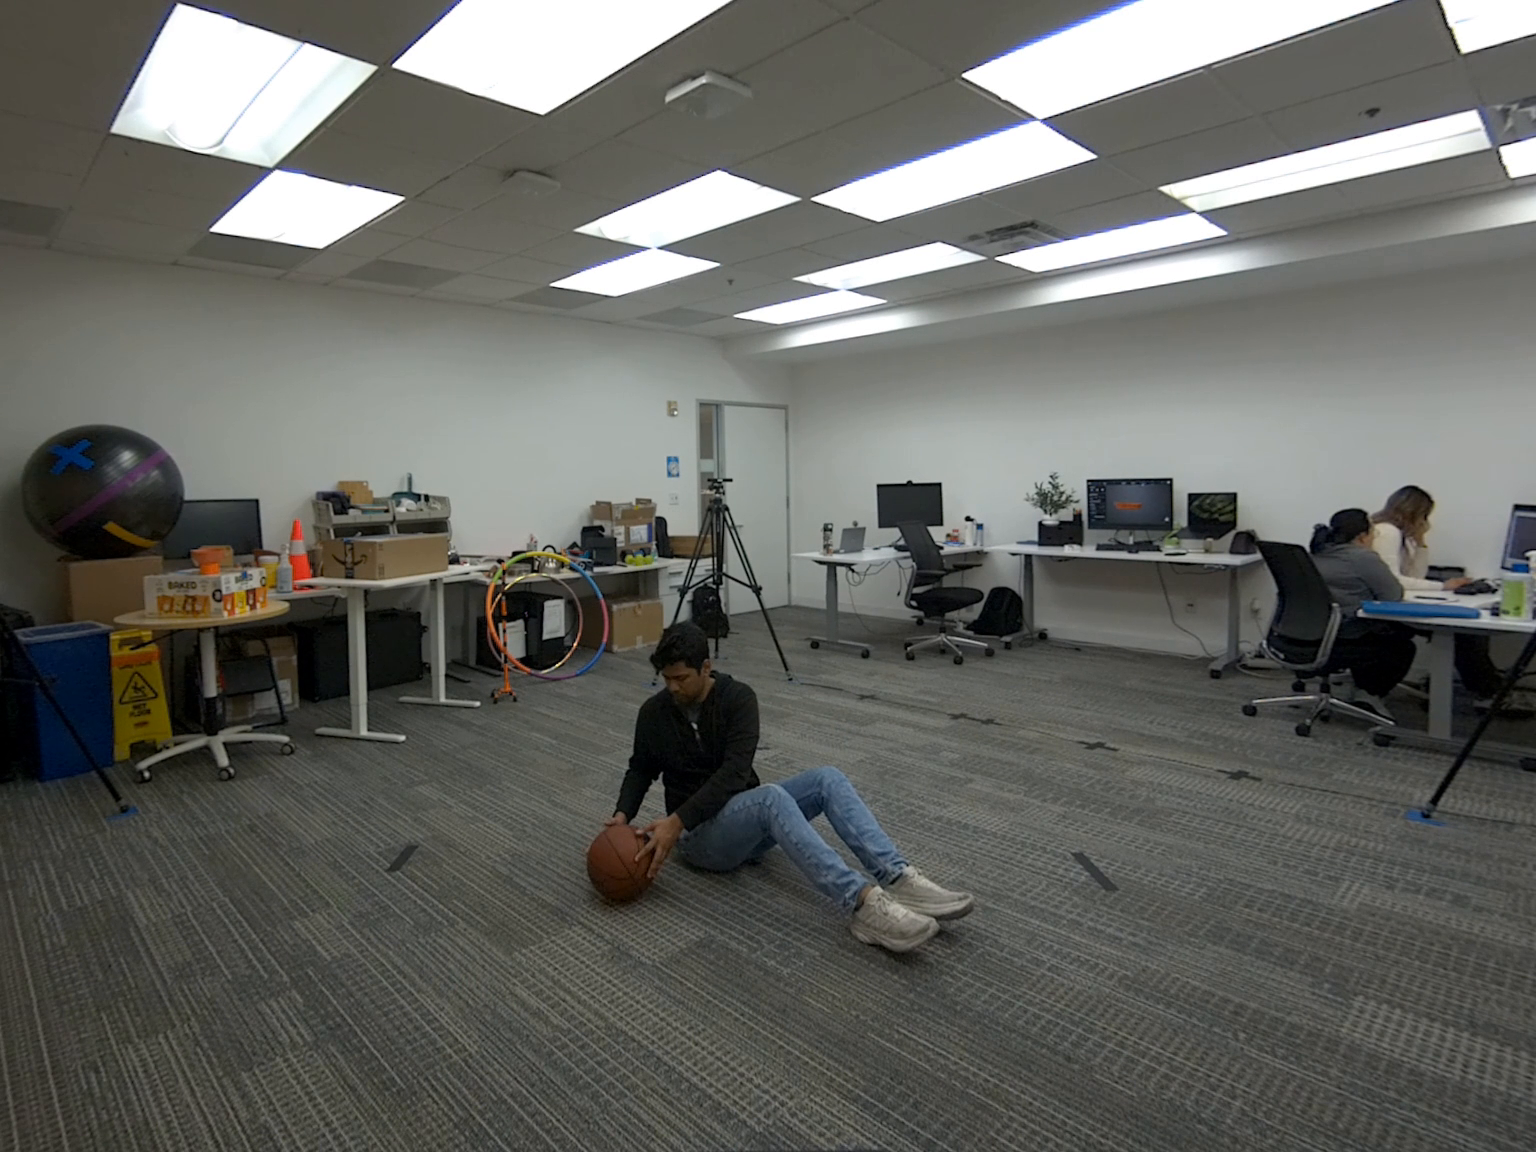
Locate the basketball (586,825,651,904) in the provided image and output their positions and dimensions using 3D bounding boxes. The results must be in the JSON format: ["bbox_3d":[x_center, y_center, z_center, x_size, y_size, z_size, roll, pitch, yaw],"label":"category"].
[{"bbox_3d":[-0.483,0.968,2.872,0.236,0.235,0.237,-1,5,-2],"label":"basketball"}]
